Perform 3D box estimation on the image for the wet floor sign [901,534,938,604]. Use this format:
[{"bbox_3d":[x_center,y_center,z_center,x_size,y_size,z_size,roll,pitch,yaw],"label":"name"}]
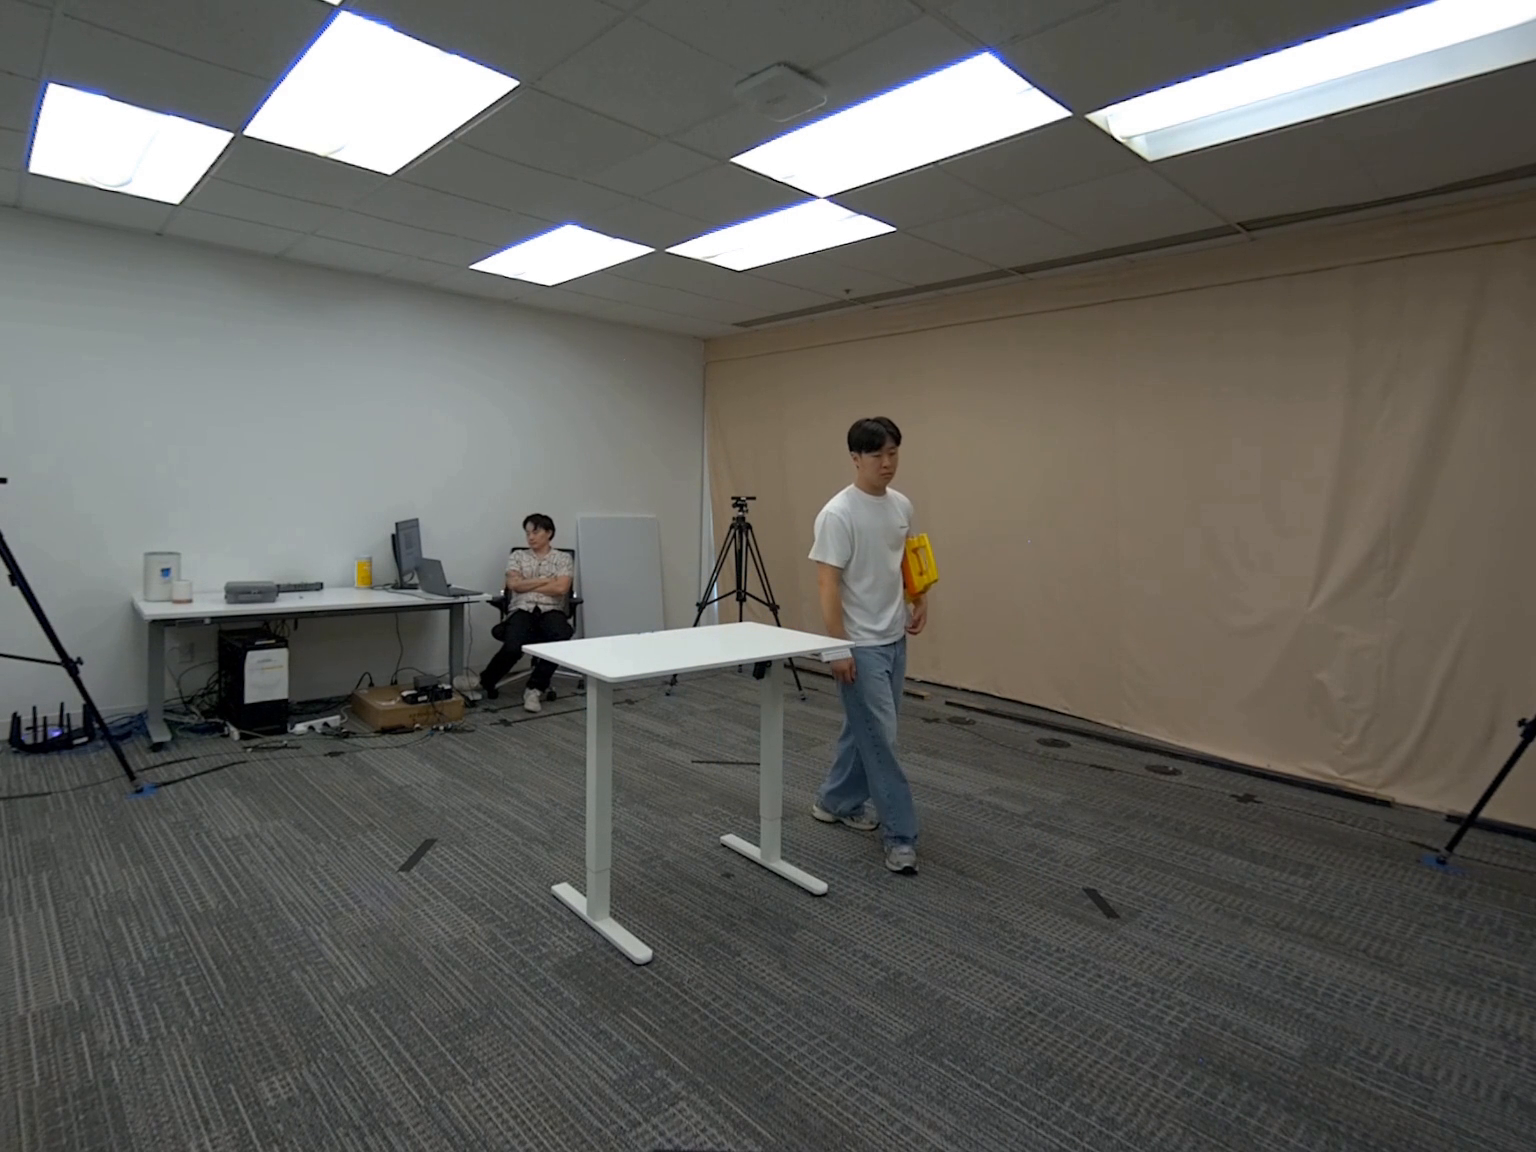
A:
[{"bbox_3d":[0.528,0.026,3.601,0.285,0.286,0.646,-2,-18,-22],"label":"wet floor sign"}]
